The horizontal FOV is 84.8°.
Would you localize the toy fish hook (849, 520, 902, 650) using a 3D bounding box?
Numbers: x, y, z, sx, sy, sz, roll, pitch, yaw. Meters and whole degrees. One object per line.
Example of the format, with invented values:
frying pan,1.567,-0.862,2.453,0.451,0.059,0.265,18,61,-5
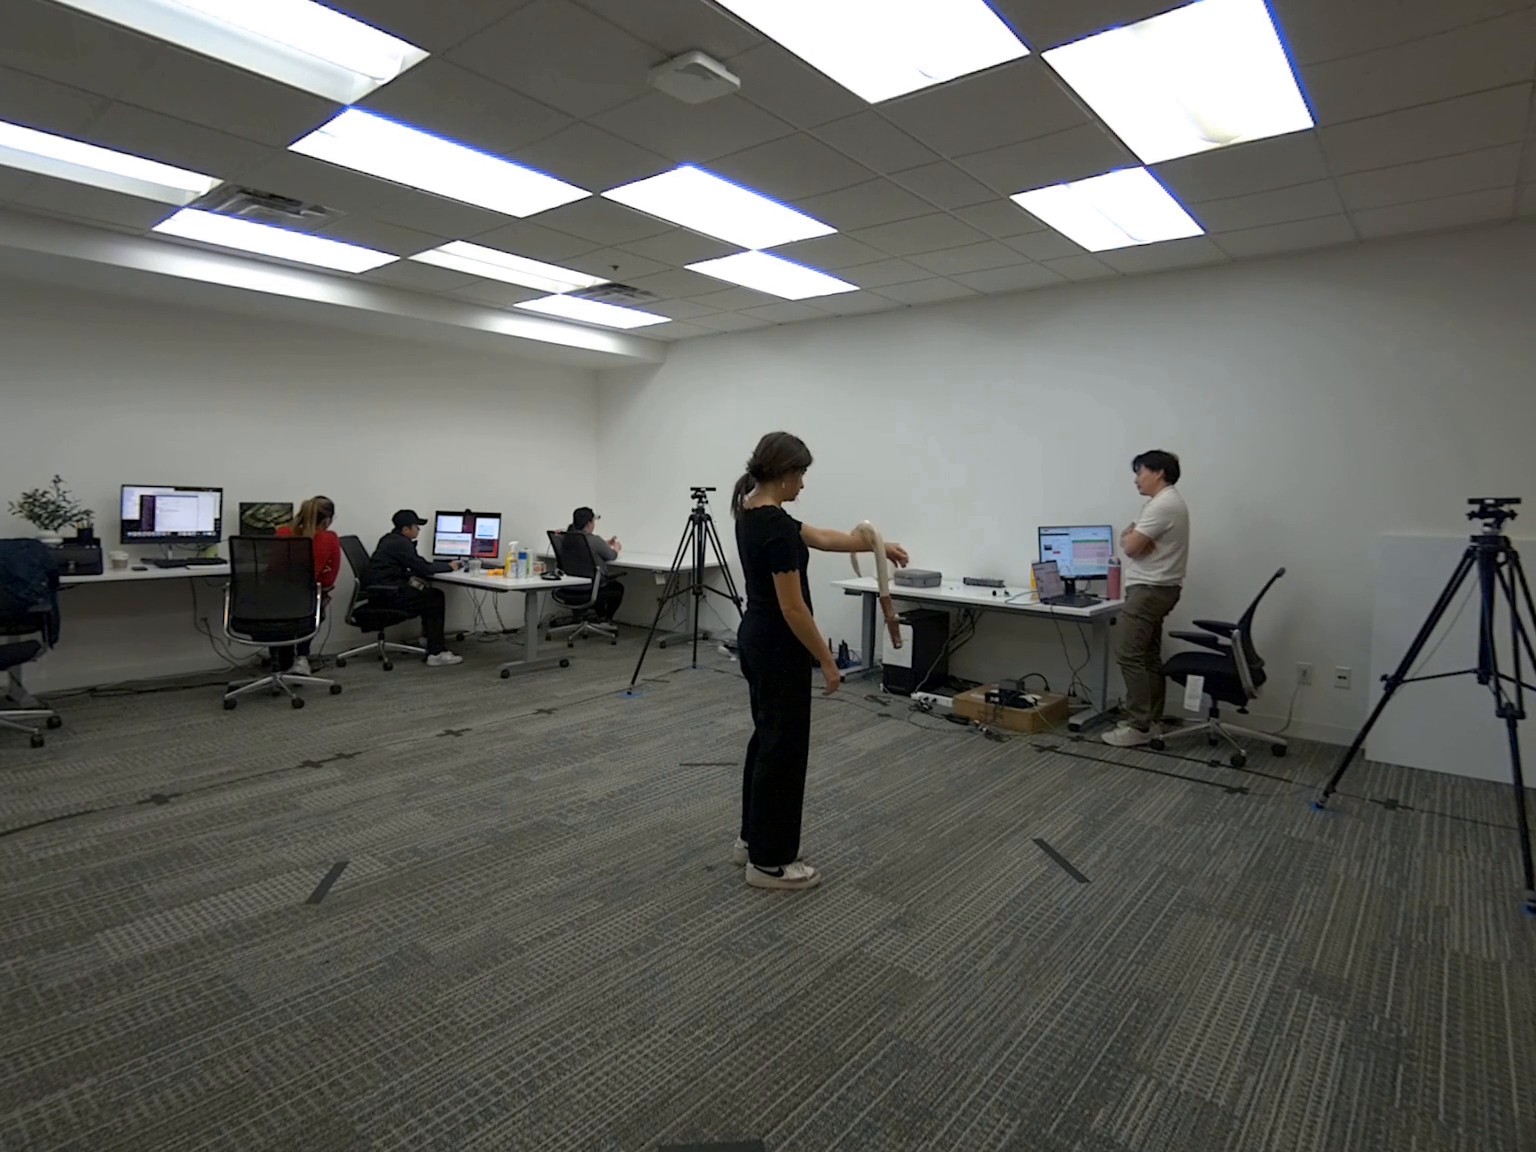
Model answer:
toy fish hook,0.398,0.033,3.273,0.047,0.515,0.225,-6,-14,-23
